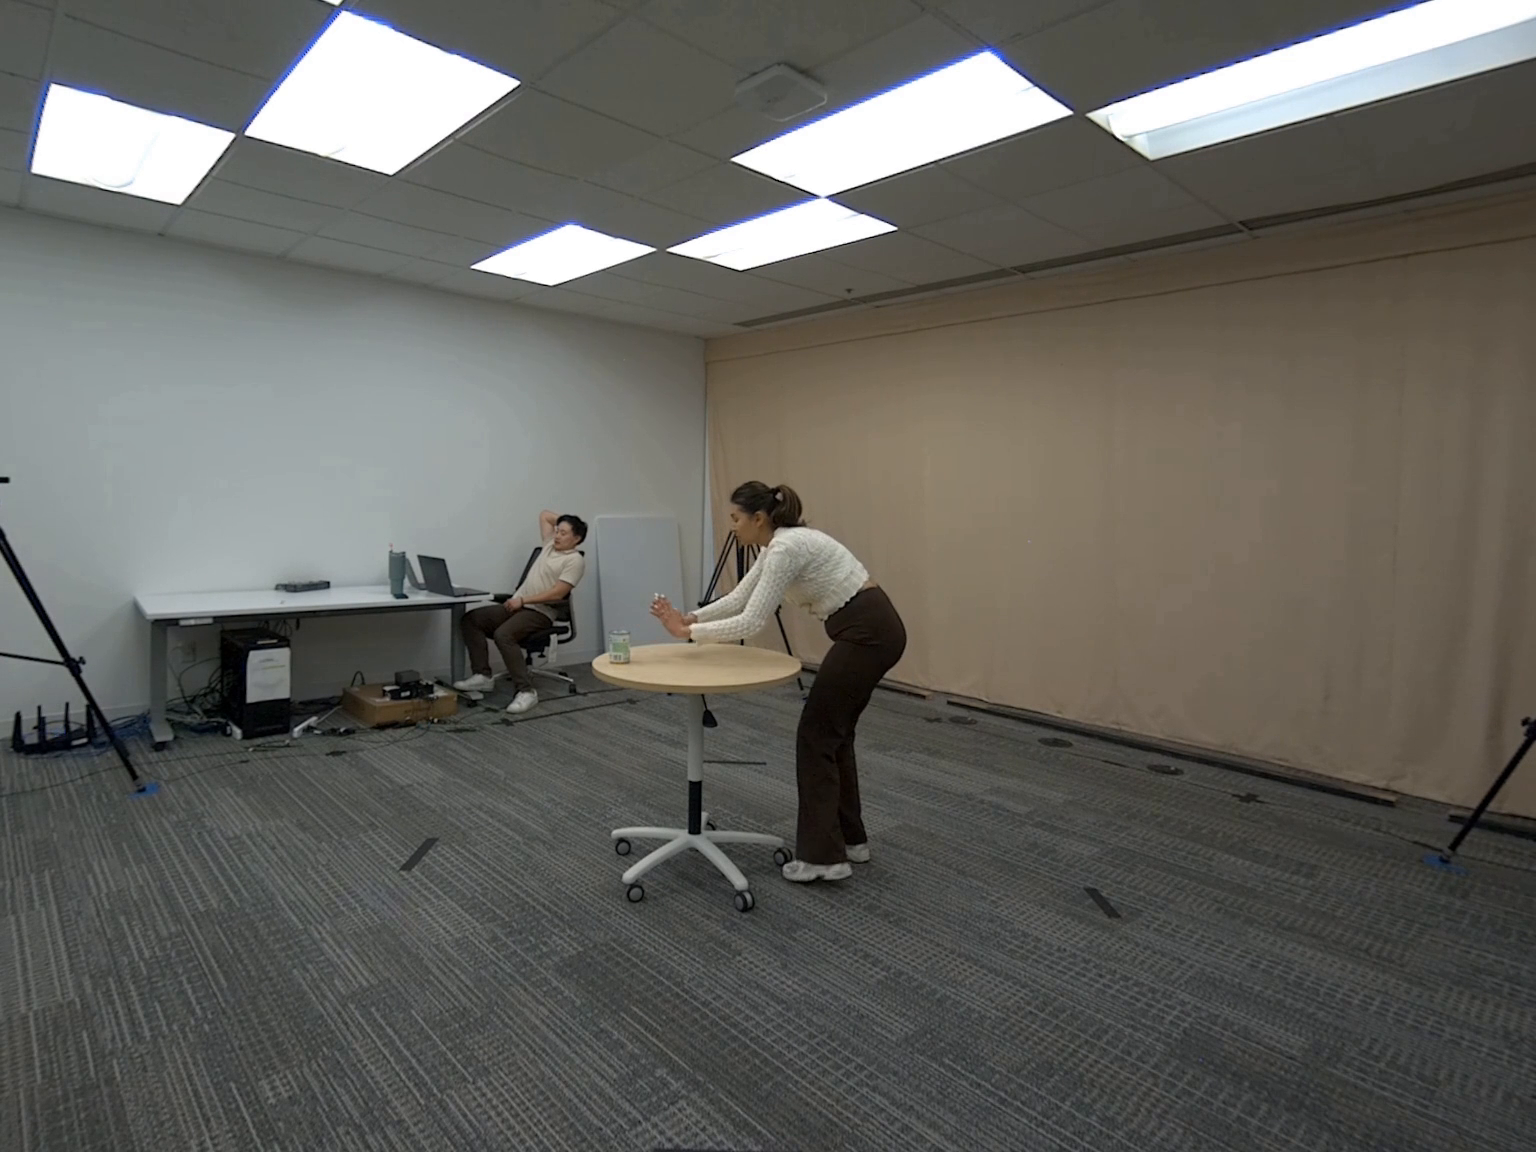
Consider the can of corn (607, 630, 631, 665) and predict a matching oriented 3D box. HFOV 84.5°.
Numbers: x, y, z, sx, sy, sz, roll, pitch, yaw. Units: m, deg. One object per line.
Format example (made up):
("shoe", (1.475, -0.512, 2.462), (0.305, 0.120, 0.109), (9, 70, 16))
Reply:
("can of corn", (-0.543, 0.261, 3.062), (0.074, 0.111, 0.074), (-1, 2, -1))
